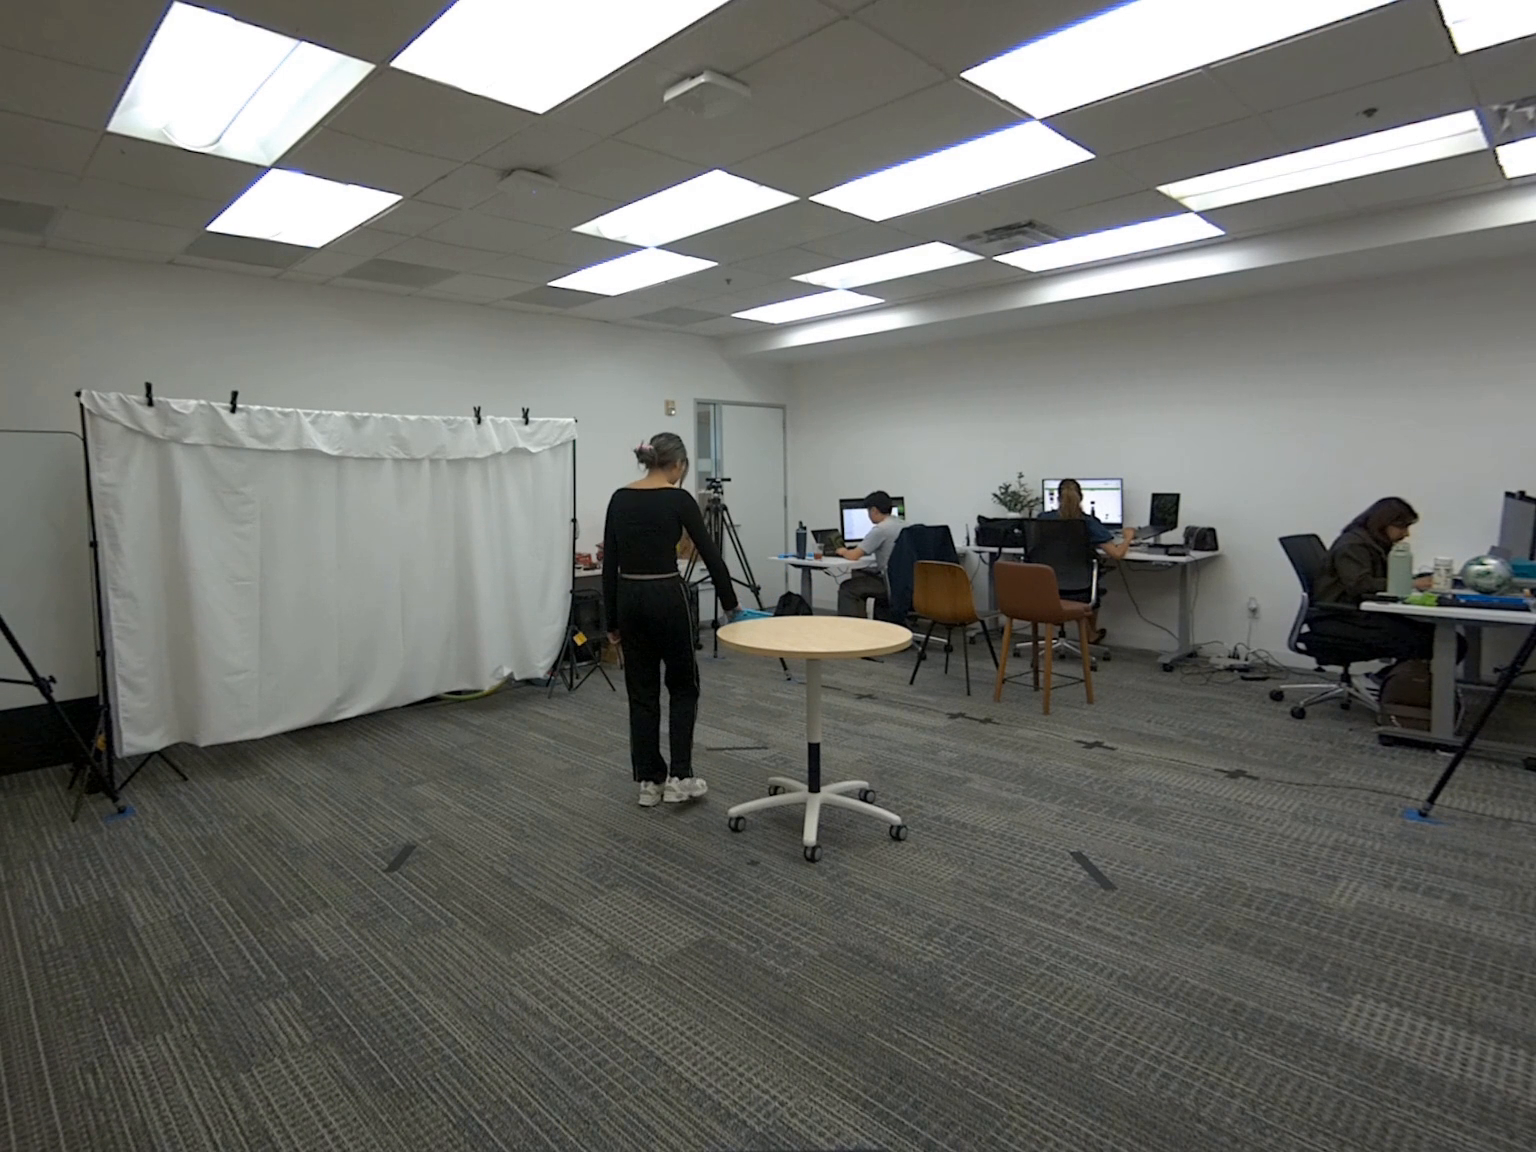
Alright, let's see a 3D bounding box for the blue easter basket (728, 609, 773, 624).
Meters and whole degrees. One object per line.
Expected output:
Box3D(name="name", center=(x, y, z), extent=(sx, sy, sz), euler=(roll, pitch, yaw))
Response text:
Box3D(name="blue easter basket", center=(-0.094, 0.244, 3.961), extent=(0.243, 0.156, 0.243), euler=(10, -1, -1))
